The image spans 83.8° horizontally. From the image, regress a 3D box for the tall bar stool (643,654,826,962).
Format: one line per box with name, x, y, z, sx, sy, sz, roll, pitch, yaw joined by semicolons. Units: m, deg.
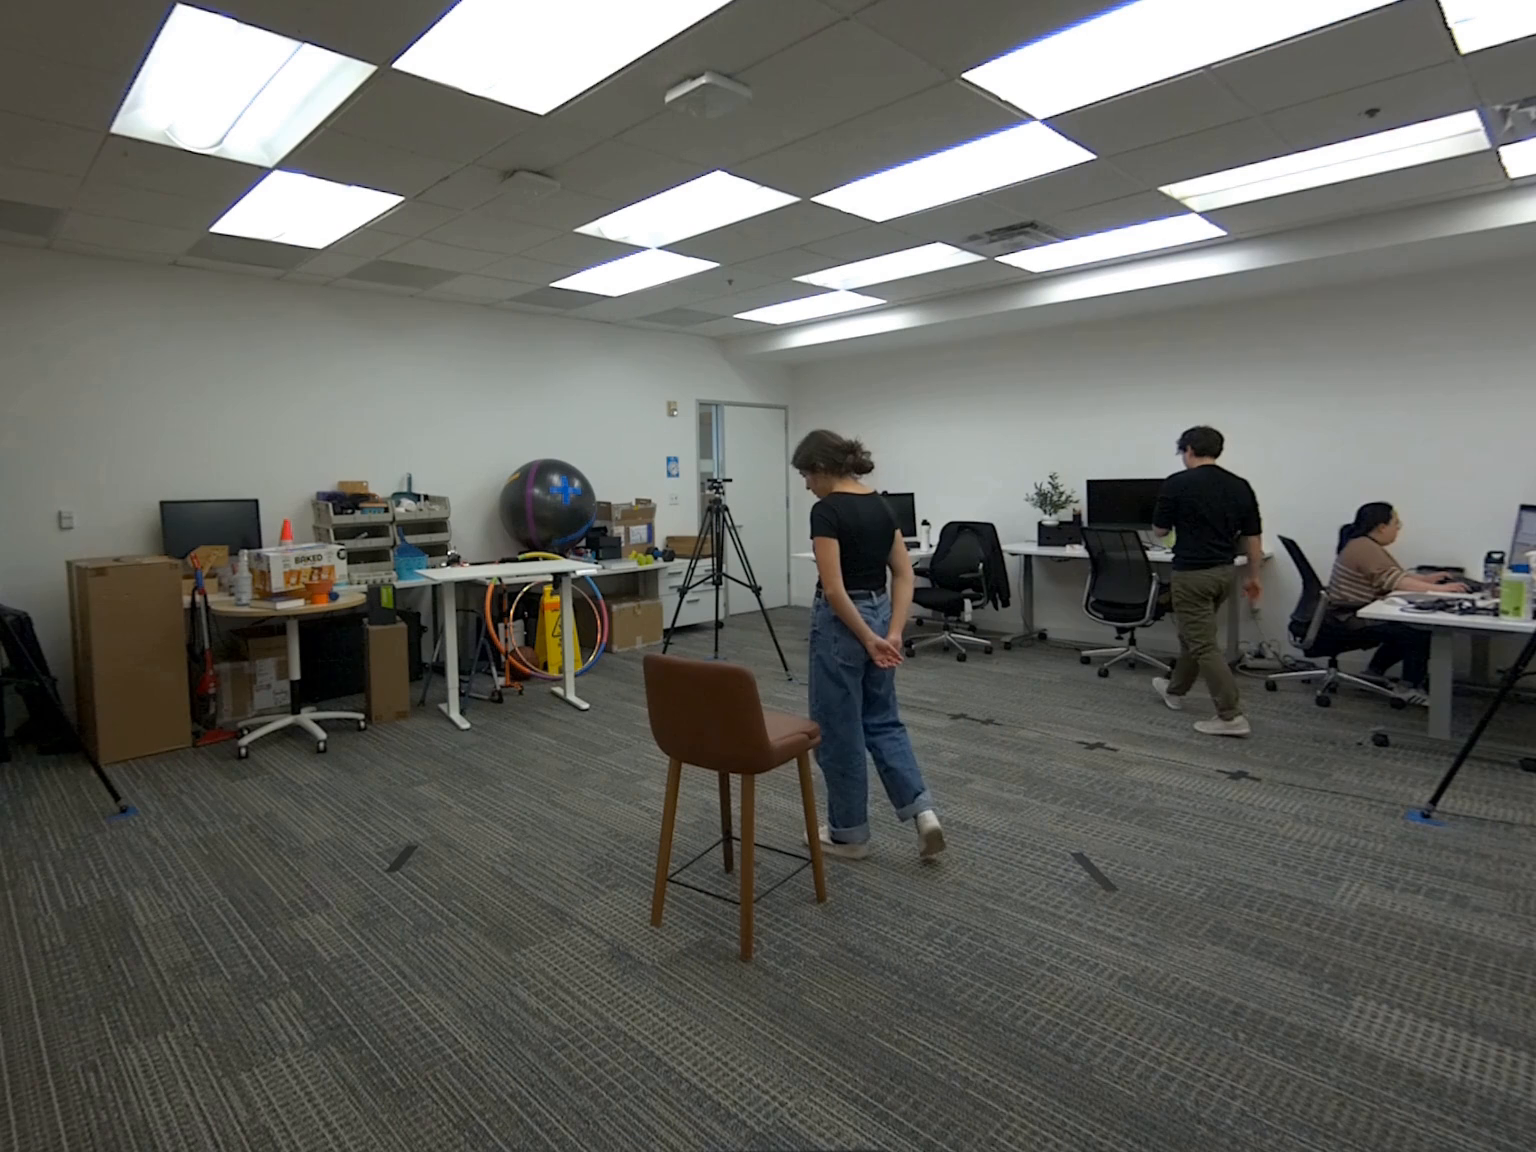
tall bar stool;-0.104;0.656;2.728;0.470;0.885;0.457;2;7;35
